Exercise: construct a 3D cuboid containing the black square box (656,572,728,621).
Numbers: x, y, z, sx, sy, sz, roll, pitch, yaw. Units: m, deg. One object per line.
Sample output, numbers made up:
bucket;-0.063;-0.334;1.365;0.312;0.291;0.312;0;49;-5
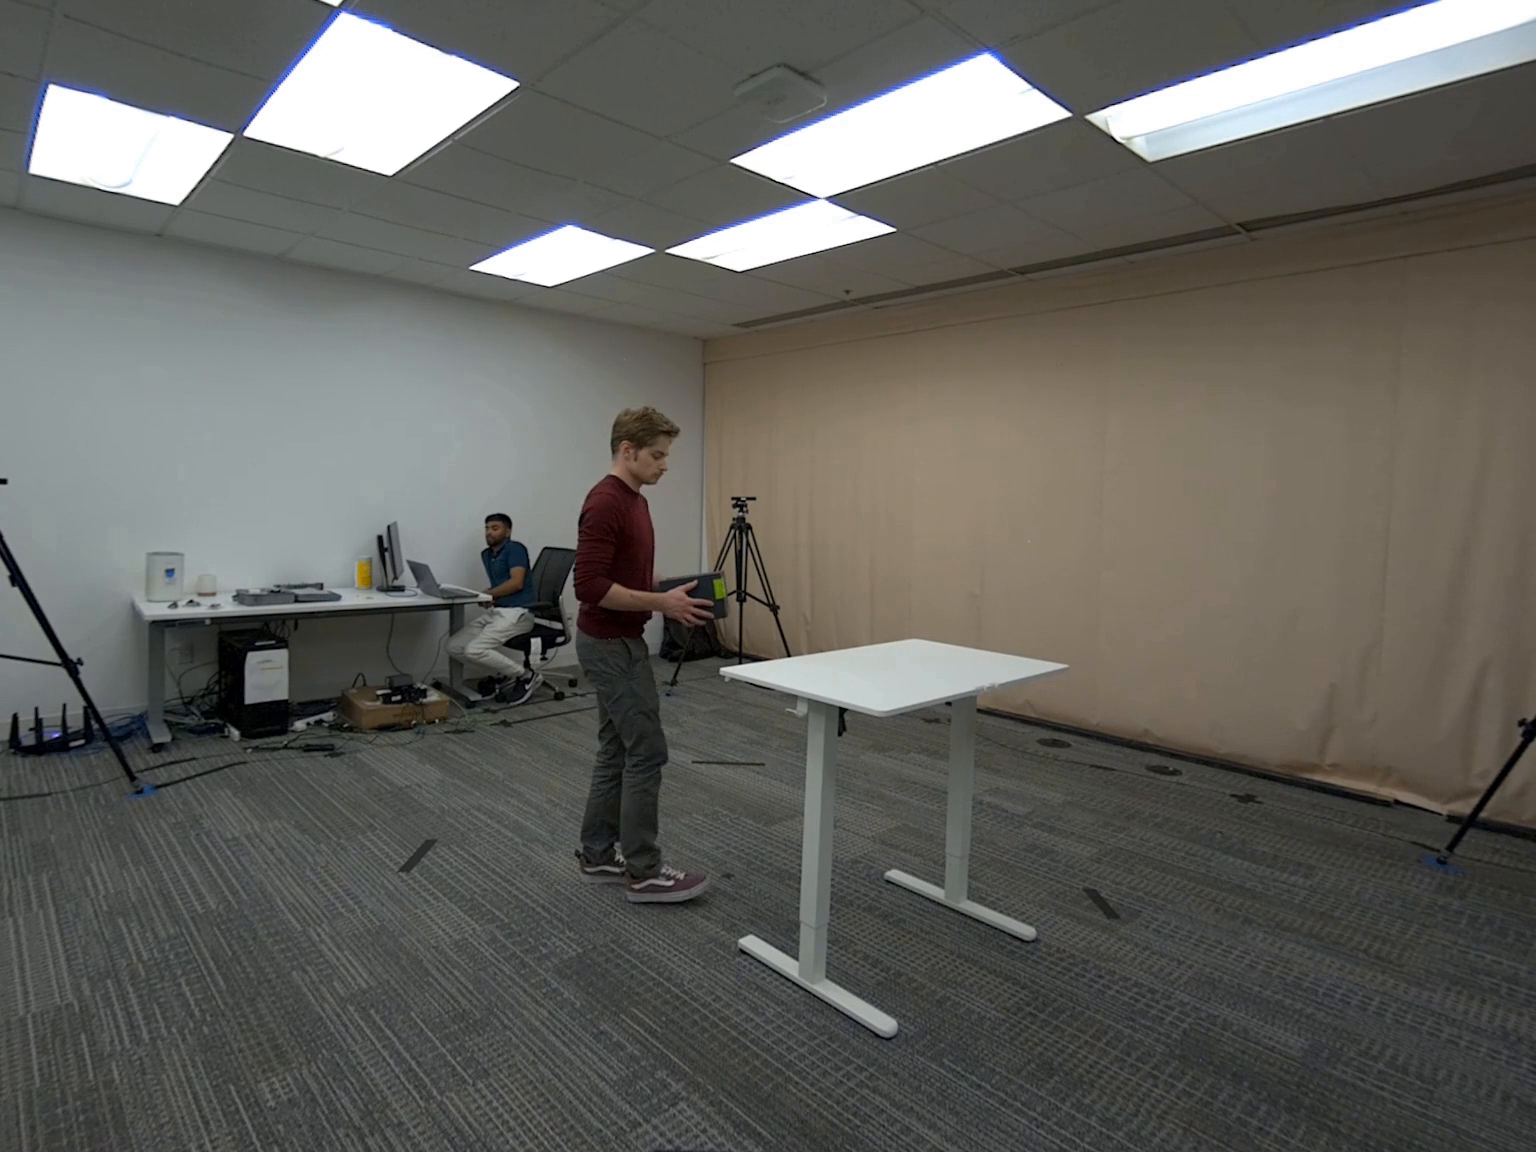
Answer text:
black square box;-0.267;0.069;2.955;0.218;0.156;0.227;-8;2;7
